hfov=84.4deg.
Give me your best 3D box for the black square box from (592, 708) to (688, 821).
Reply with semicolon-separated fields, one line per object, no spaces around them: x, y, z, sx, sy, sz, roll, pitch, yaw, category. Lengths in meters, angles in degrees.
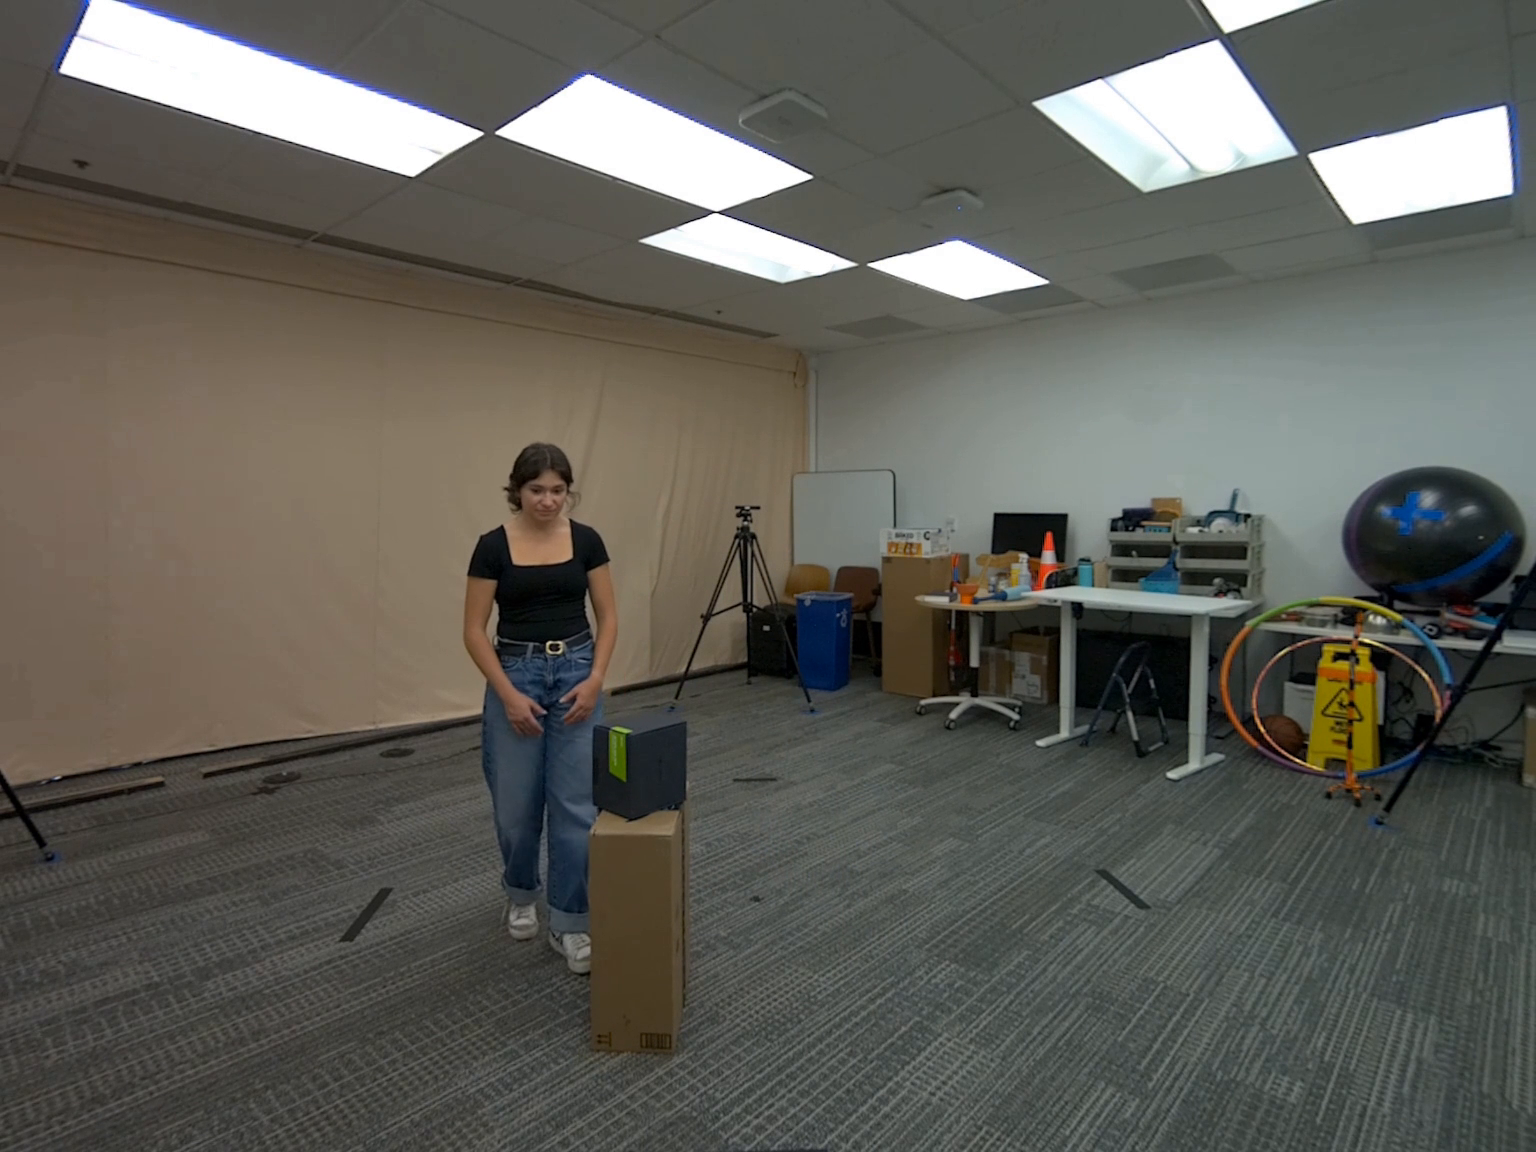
-0.352;0.517;2.337;0.161;0.227;0.210;4;5;41;black square box
